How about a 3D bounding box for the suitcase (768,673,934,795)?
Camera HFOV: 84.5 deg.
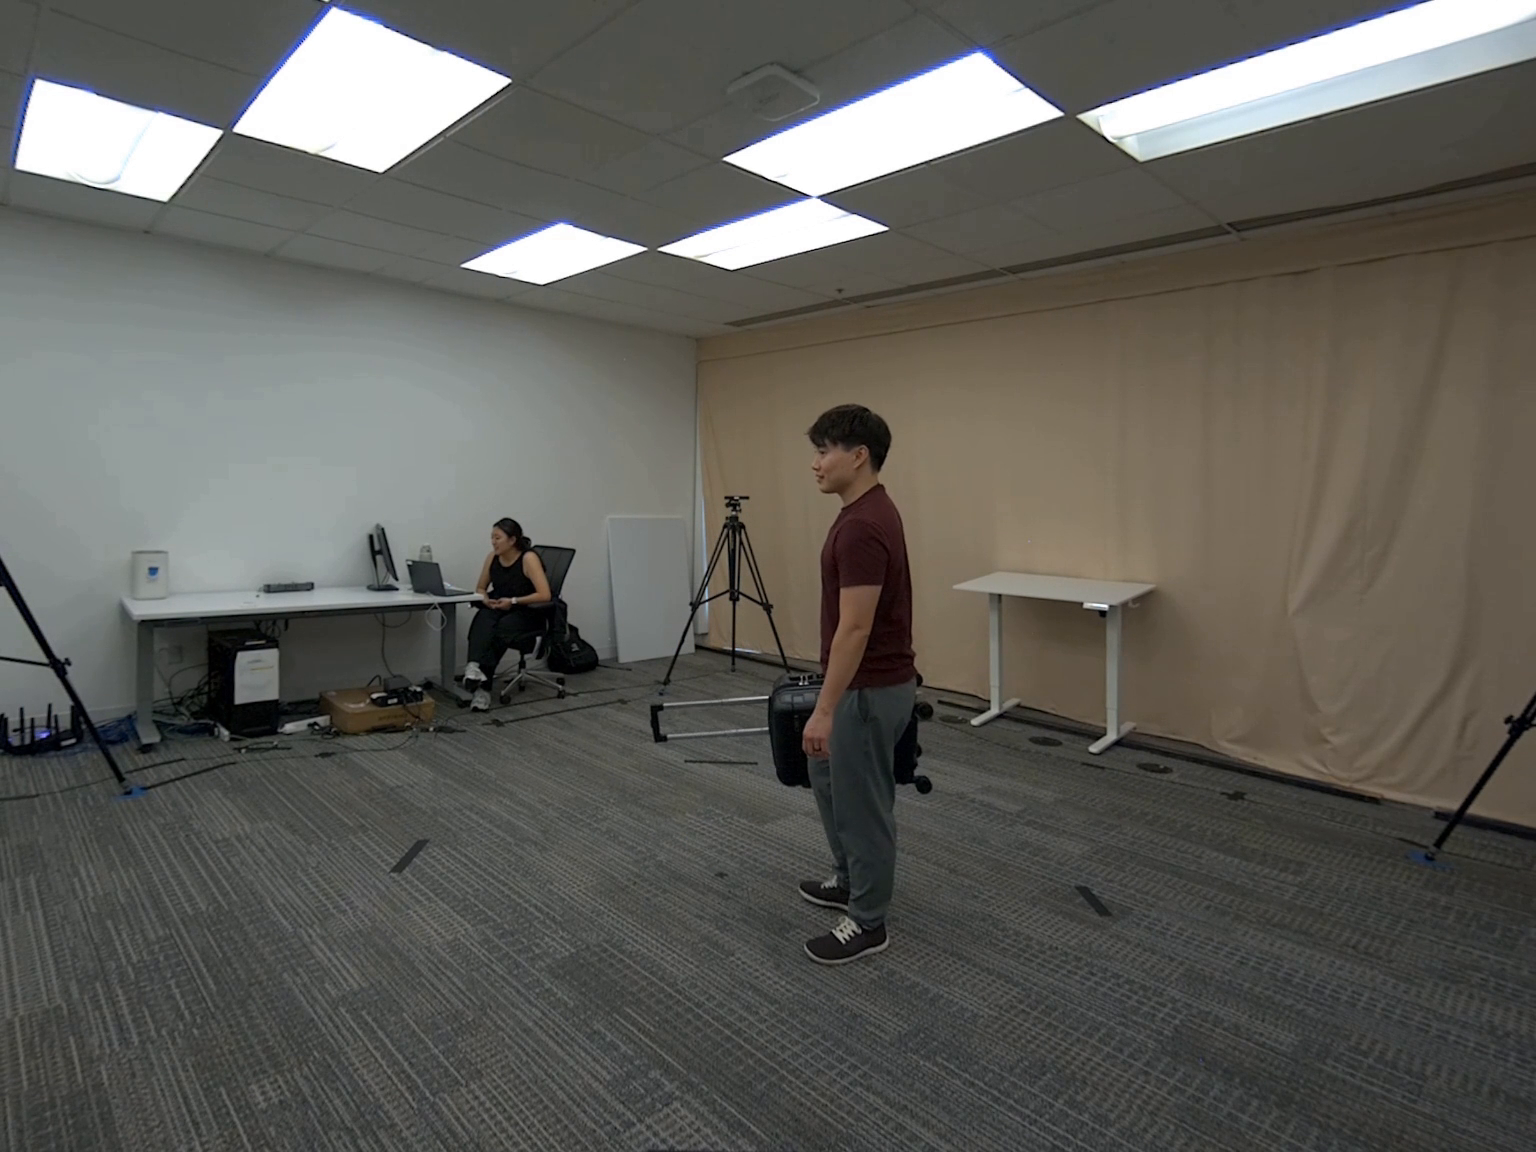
[{"bbox_3d":[0.067,0.535,2.963,0.979,0.379,0.260,-1,19,0],"label":"suitcase"}]
